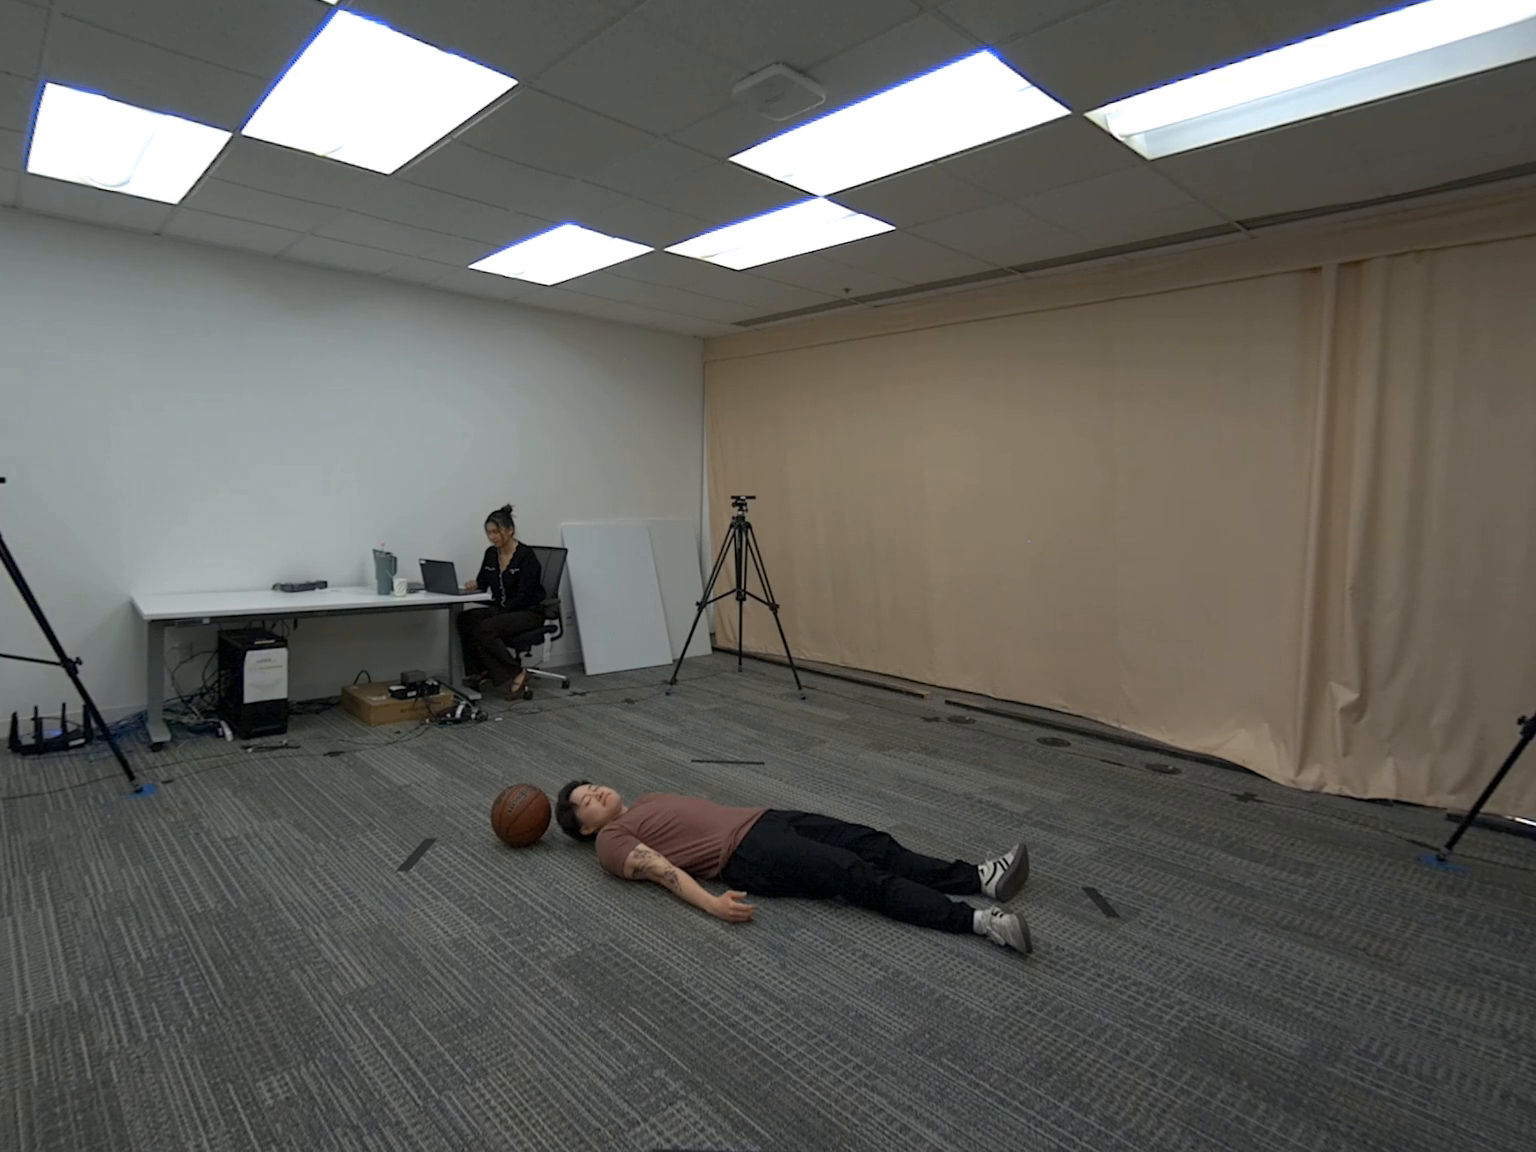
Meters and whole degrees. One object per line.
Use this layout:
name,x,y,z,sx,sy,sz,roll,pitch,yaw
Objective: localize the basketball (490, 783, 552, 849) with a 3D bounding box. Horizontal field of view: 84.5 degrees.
basketball,-0.989,0.945,3.328,0.236,0.234,0.237,0,8,-1
